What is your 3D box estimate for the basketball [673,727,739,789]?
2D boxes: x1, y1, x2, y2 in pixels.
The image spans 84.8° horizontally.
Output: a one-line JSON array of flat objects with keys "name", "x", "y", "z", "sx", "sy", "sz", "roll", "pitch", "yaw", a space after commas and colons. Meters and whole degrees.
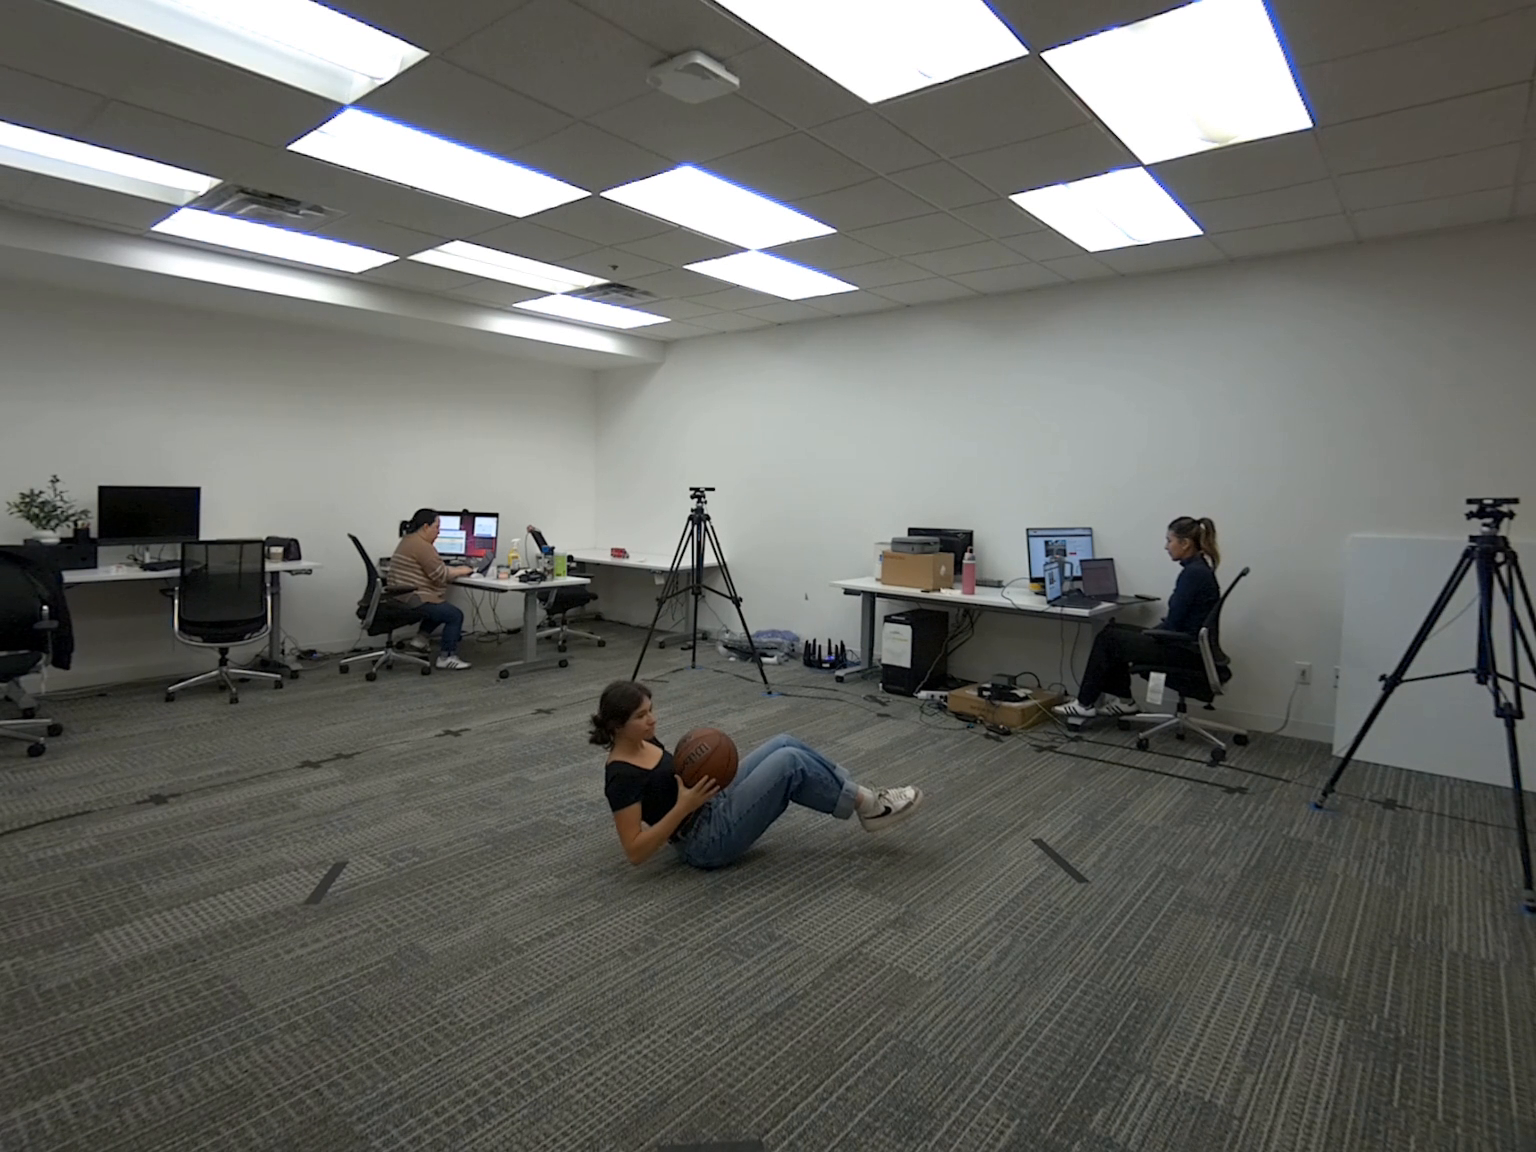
[{"name": "basketball", "x": -0.241, "y": 0.676, "z": 3.089, "sx": 0.235, "sy": 0.235, "sz": 0.237, "roll": 1, "pitch": 4, "yaw": -2}]
